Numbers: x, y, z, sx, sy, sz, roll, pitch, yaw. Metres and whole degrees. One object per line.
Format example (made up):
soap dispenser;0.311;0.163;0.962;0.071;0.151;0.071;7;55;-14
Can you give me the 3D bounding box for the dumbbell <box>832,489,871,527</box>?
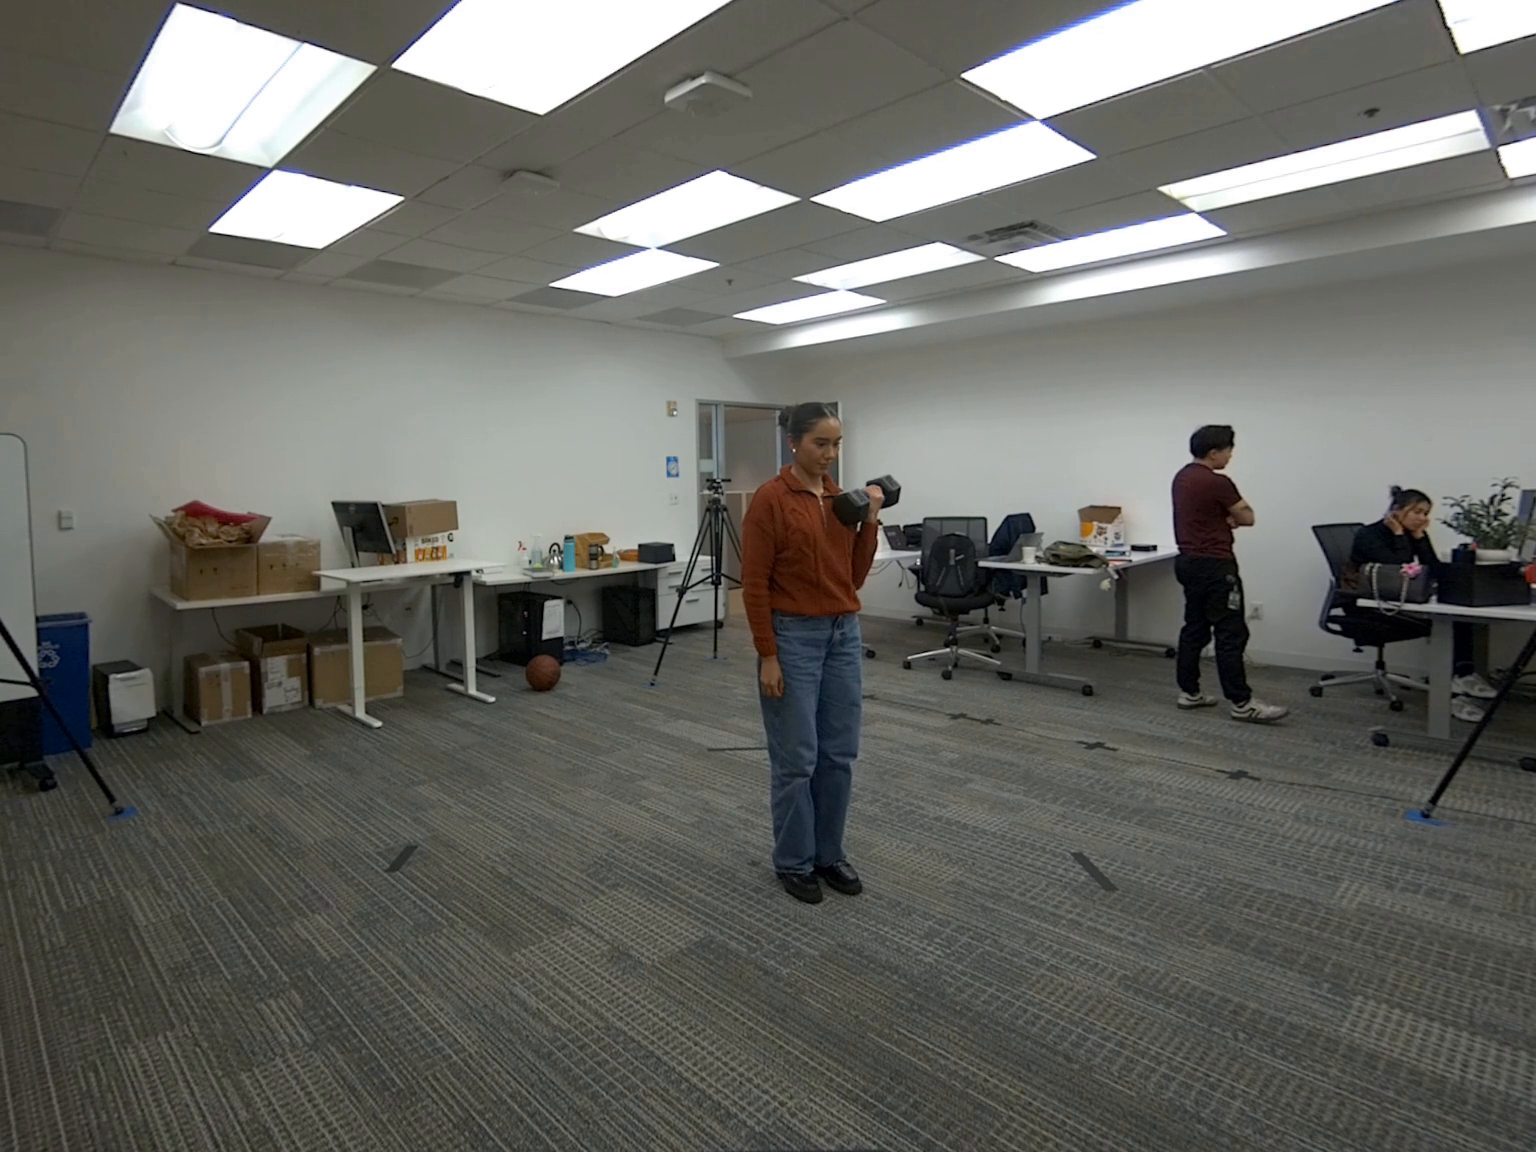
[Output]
dumbbell;0.336;-0.258;2.891;0.112;0.120;0.289;24;33;34
